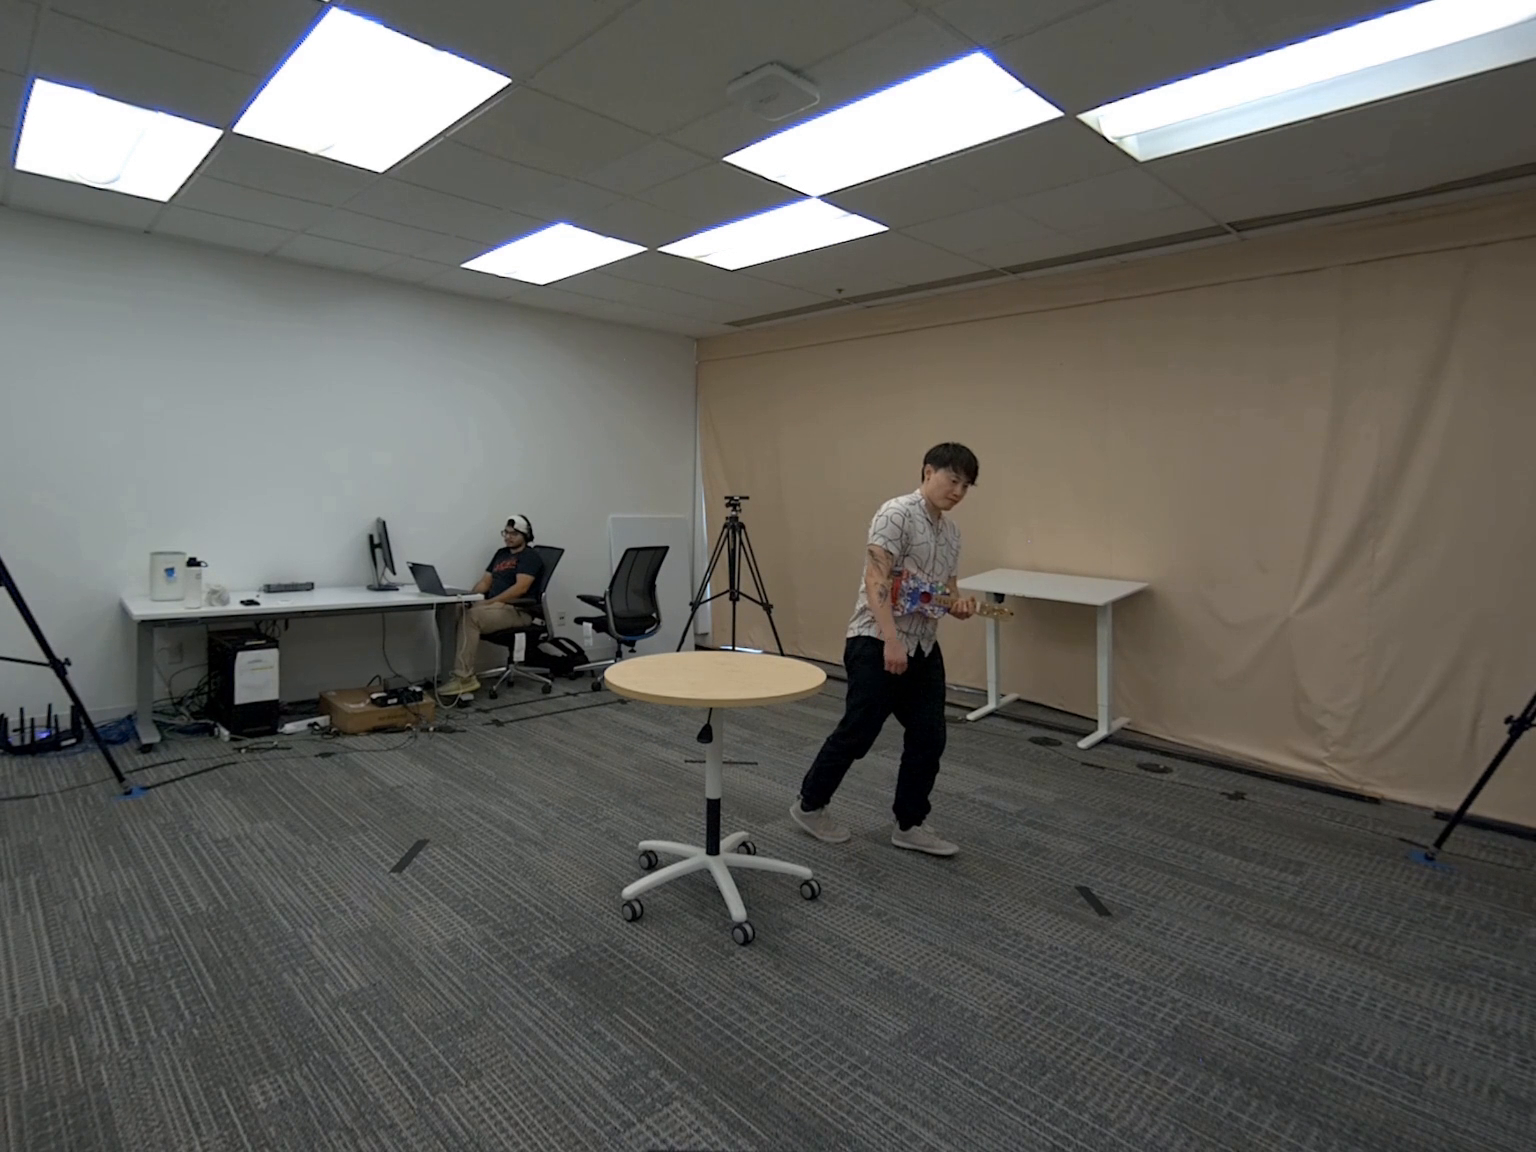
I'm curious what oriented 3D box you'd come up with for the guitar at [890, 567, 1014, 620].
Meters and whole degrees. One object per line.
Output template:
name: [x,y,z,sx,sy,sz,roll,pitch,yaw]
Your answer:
guitar: [0.649,0.121,3.195,0.500,0.193,0.070,19,-7,5]
